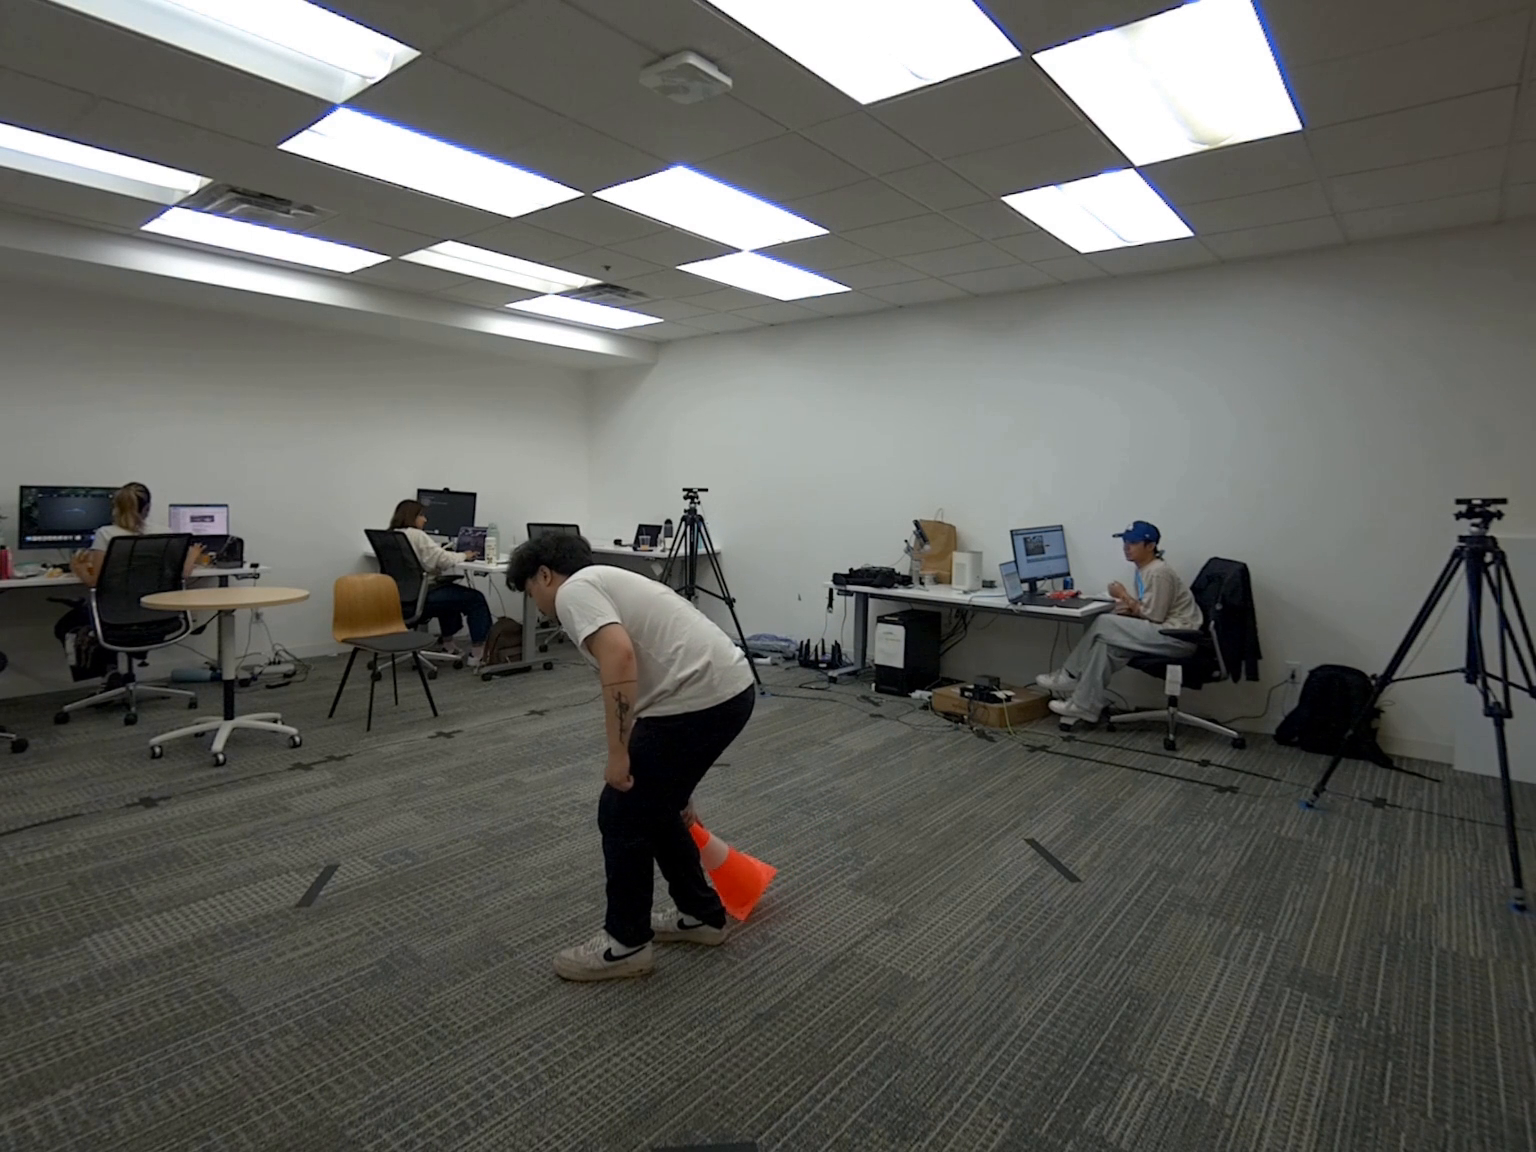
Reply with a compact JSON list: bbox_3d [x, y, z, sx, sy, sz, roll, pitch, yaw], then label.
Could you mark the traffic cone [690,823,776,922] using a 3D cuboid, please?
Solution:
[{"bbox_3d":[-0.199,0.896,2.765,0.203,0.373,0.211,-47,25,-26],"label":"traffic cone"}]
